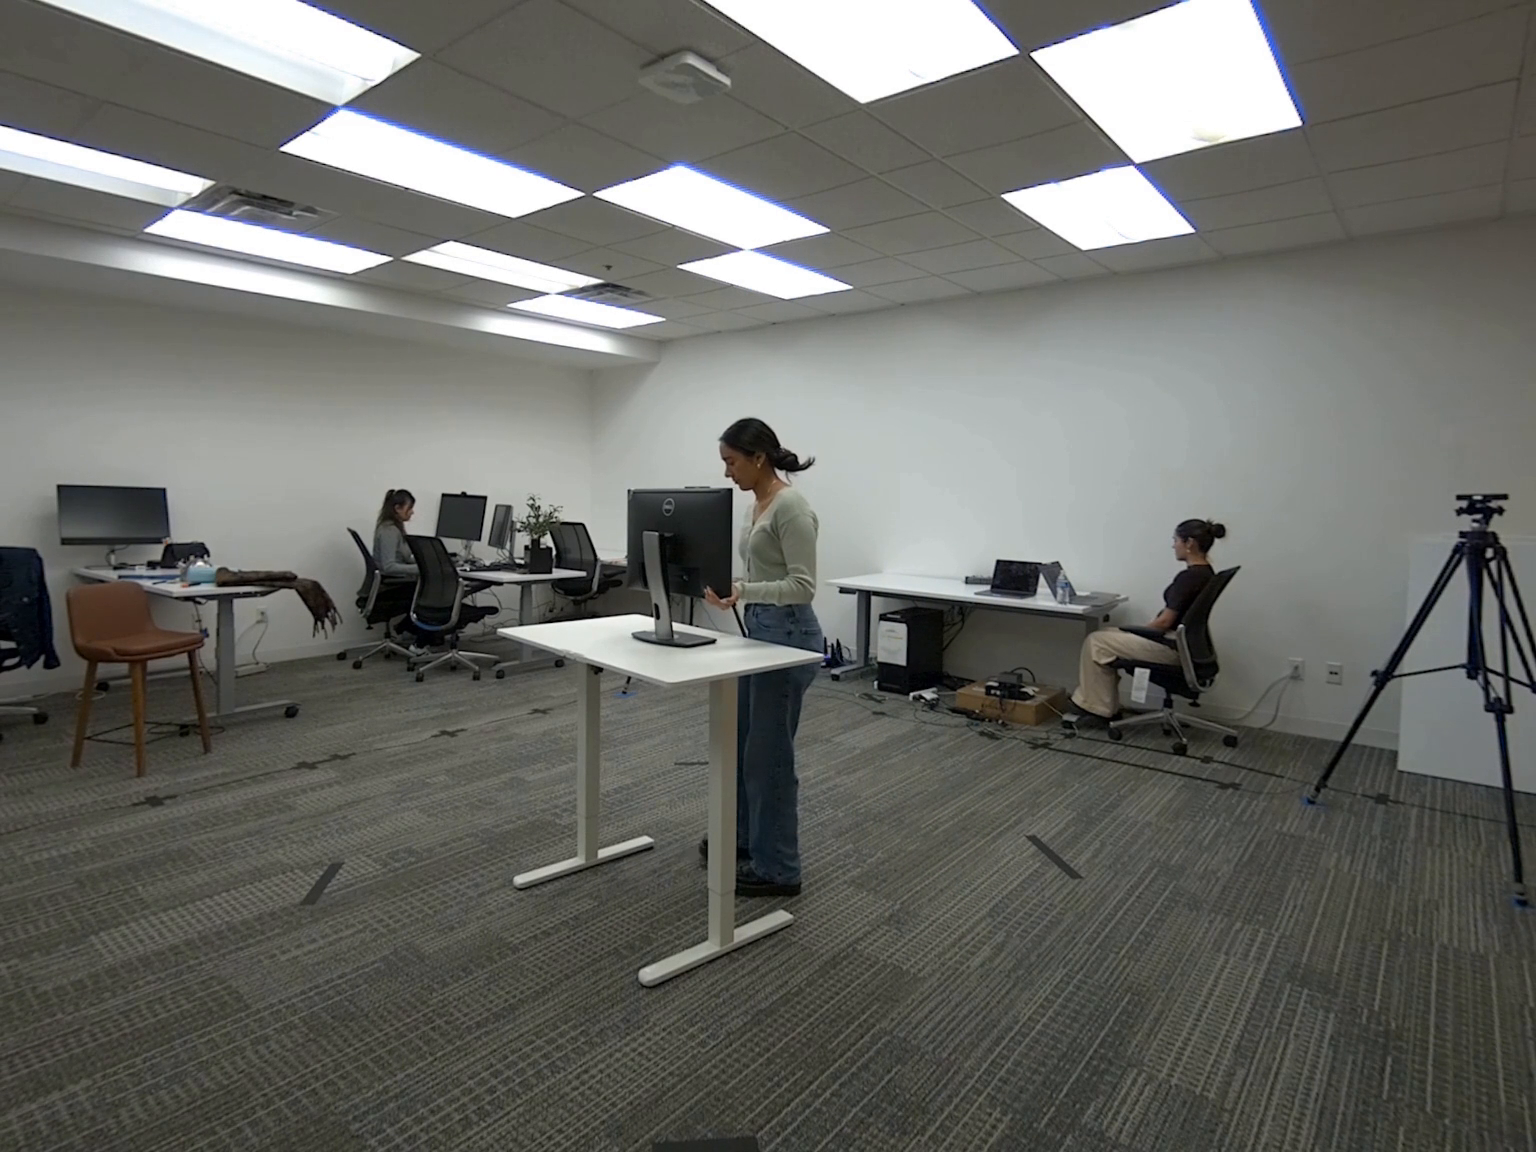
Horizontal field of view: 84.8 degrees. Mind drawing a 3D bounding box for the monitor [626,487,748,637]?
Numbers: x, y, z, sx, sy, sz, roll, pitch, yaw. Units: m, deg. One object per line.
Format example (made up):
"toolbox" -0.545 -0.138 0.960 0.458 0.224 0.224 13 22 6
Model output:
"monitor" -0.331 -0.032 2.797 0.557 0.523 0.181 3 -1 44
